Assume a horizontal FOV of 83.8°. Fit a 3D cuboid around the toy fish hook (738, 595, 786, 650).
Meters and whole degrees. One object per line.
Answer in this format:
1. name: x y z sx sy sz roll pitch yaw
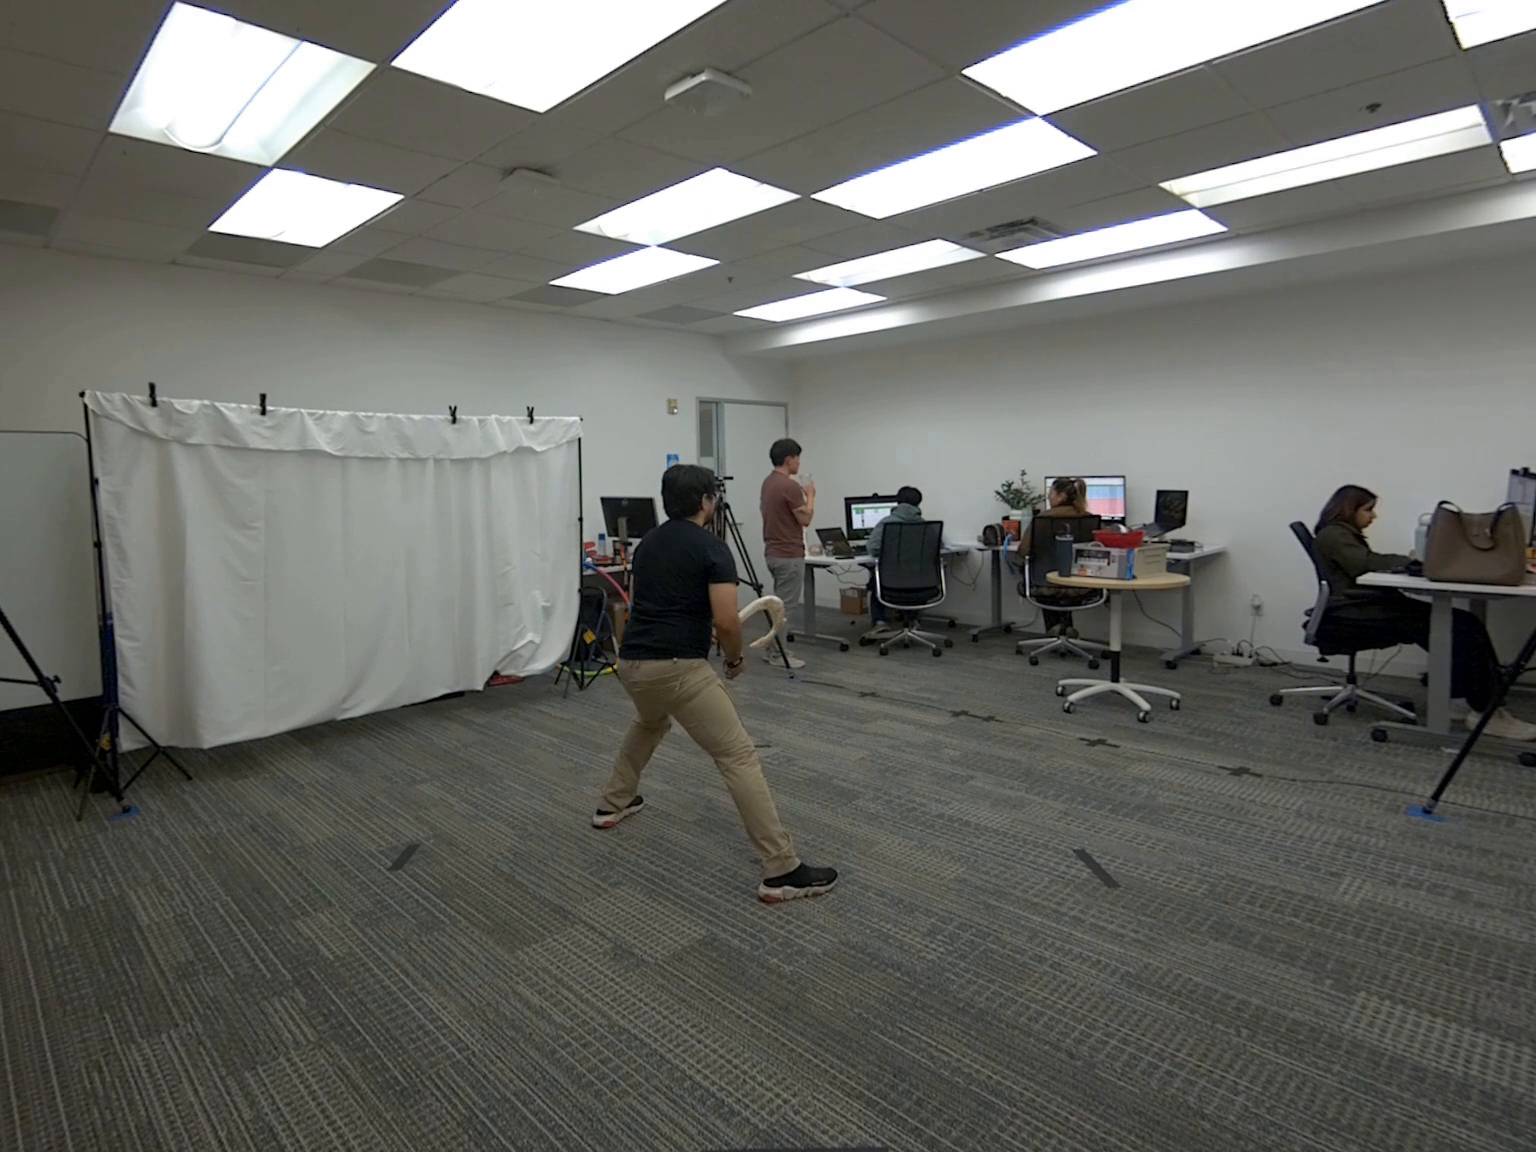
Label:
1. toy fish hook: -0.124 0.256 3.642 0.500 0.220 0.050 -24 24 -28
